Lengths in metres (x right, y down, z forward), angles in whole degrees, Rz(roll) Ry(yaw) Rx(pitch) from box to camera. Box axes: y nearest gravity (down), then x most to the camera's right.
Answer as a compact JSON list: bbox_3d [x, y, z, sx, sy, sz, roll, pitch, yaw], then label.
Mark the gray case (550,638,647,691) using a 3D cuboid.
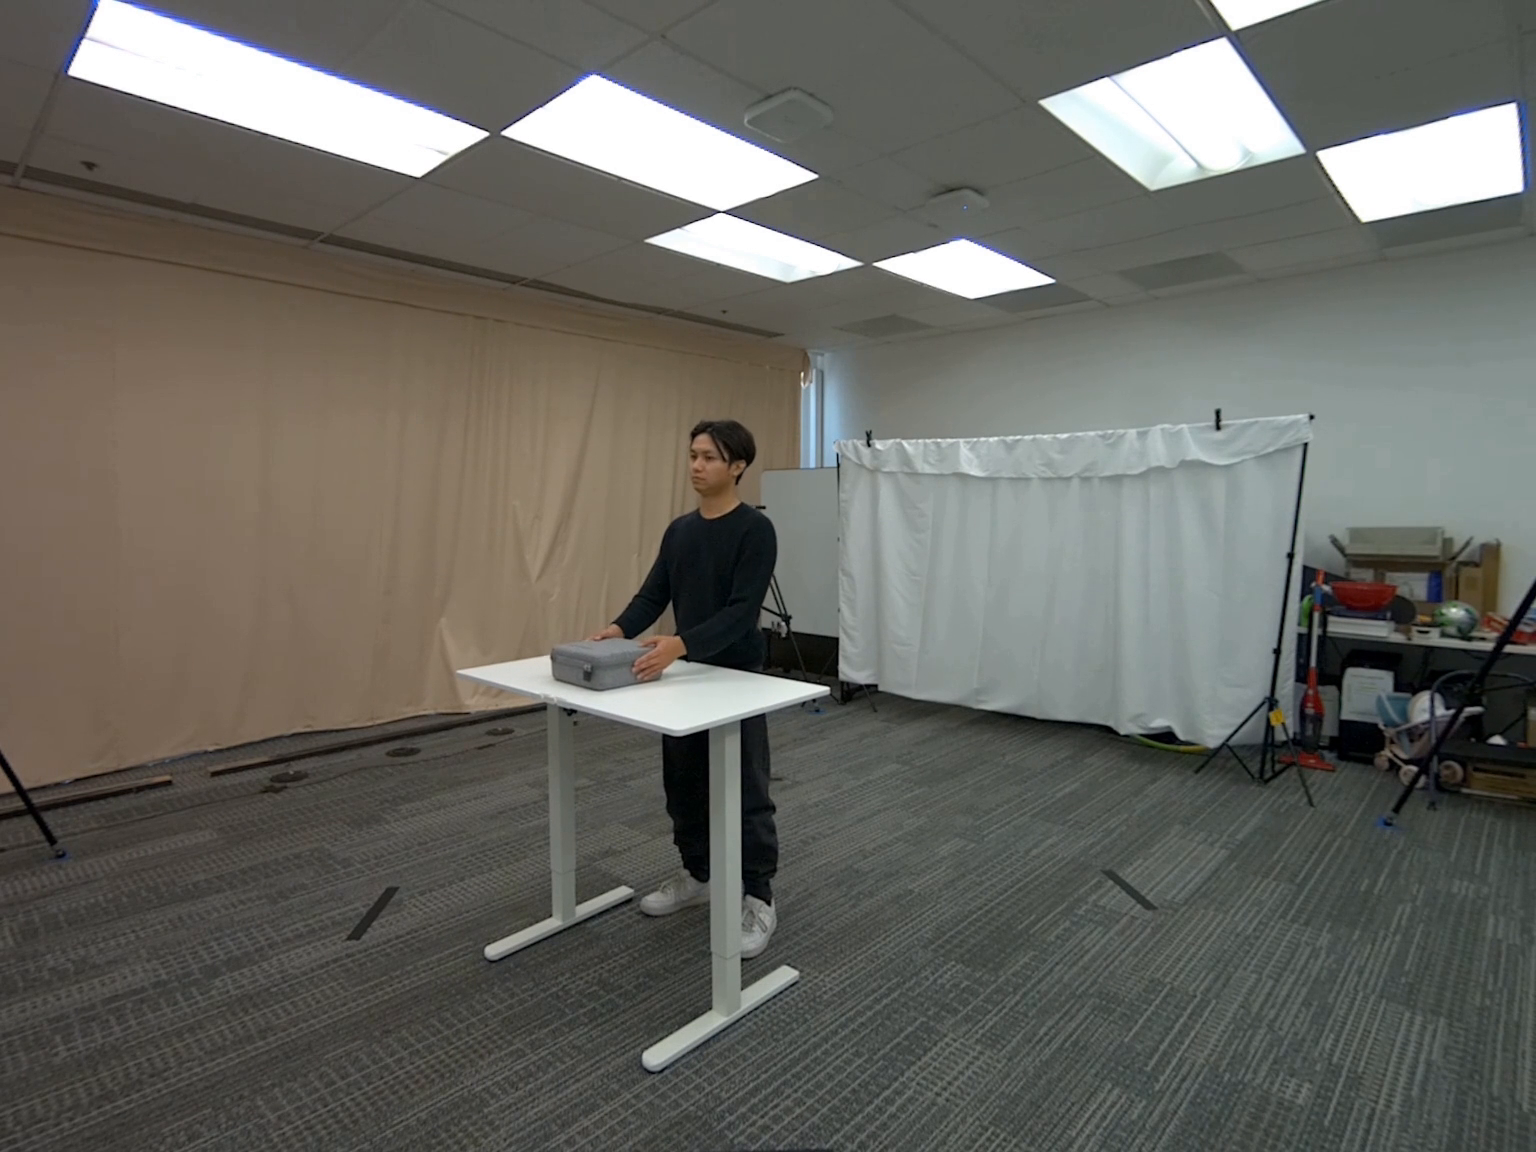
[{"bbox_3d":[-0.481,0.255,2.483,0.265,0.104,0.253,4,7,43],"label":"gray case"}]
